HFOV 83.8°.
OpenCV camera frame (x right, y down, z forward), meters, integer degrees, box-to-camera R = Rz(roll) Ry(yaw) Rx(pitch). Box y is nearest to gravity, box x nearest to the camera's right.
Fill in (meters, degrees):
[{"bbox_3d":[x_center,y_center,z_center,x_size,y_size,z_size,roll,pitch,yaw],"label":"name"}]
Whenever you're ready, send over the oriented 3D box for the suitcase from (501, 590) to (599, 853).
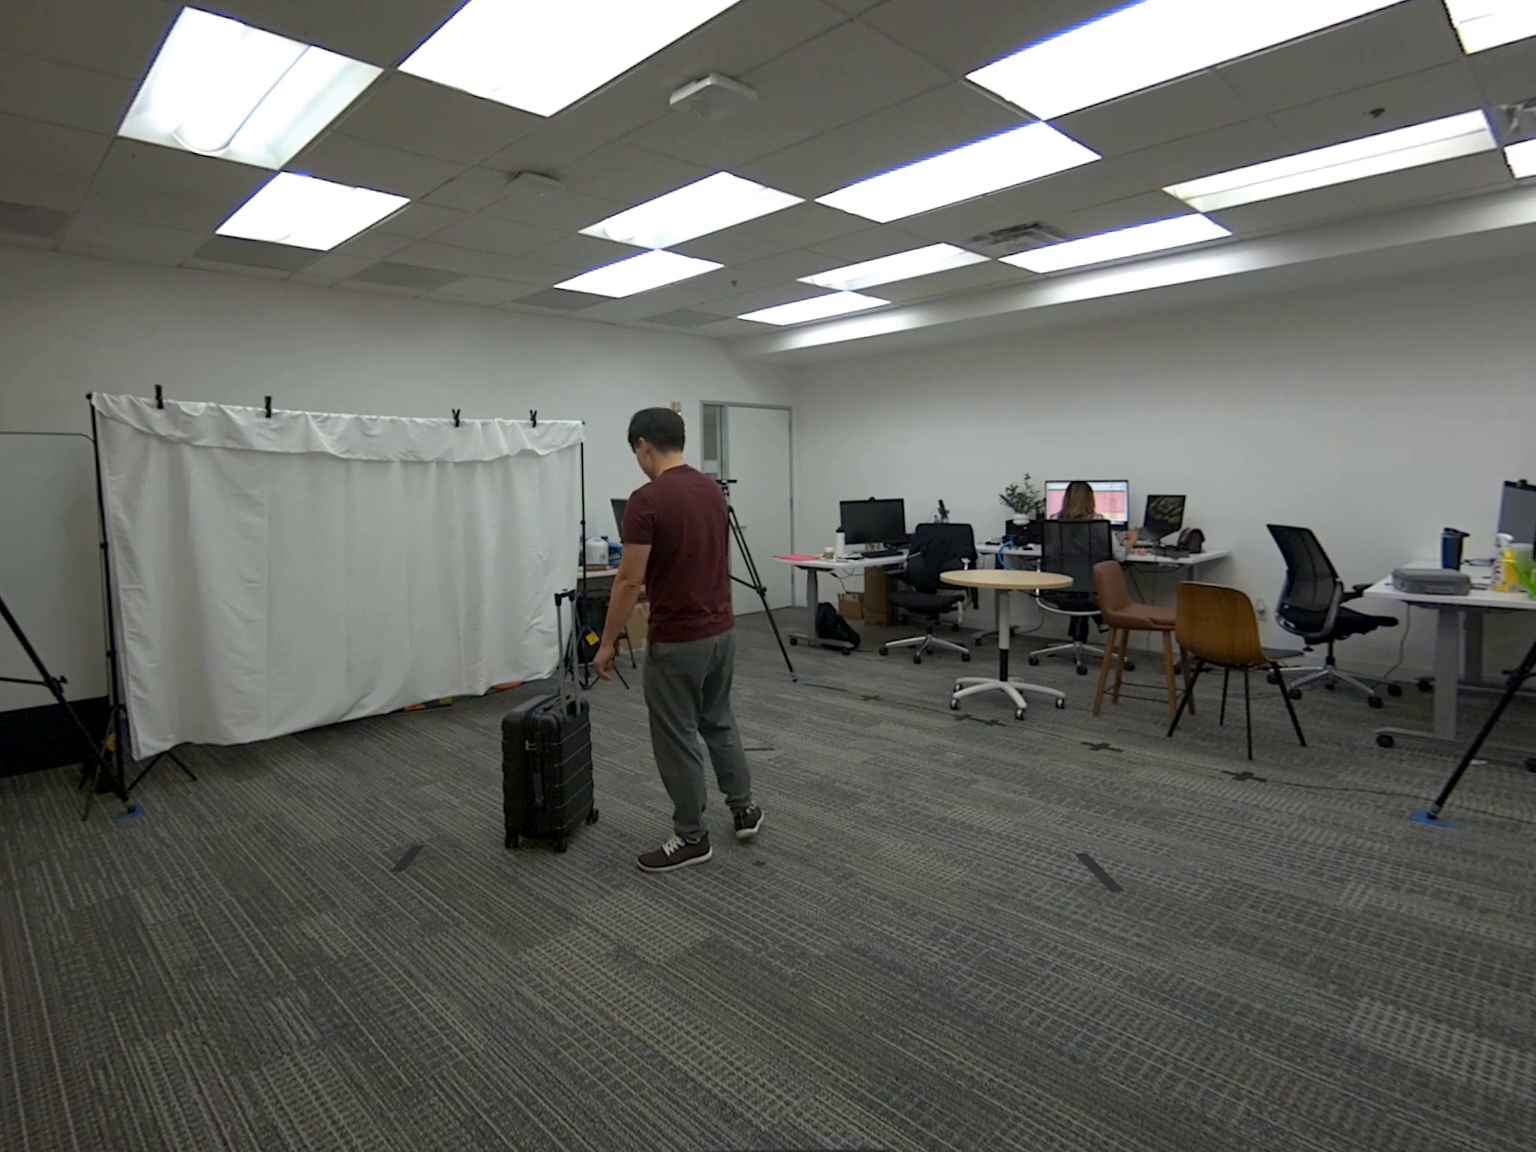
[{"bbox_3d":[-0.878,0.560,3.371,0.260,0.975,0.381,-3,4,11],"label":"suitcase"}]
